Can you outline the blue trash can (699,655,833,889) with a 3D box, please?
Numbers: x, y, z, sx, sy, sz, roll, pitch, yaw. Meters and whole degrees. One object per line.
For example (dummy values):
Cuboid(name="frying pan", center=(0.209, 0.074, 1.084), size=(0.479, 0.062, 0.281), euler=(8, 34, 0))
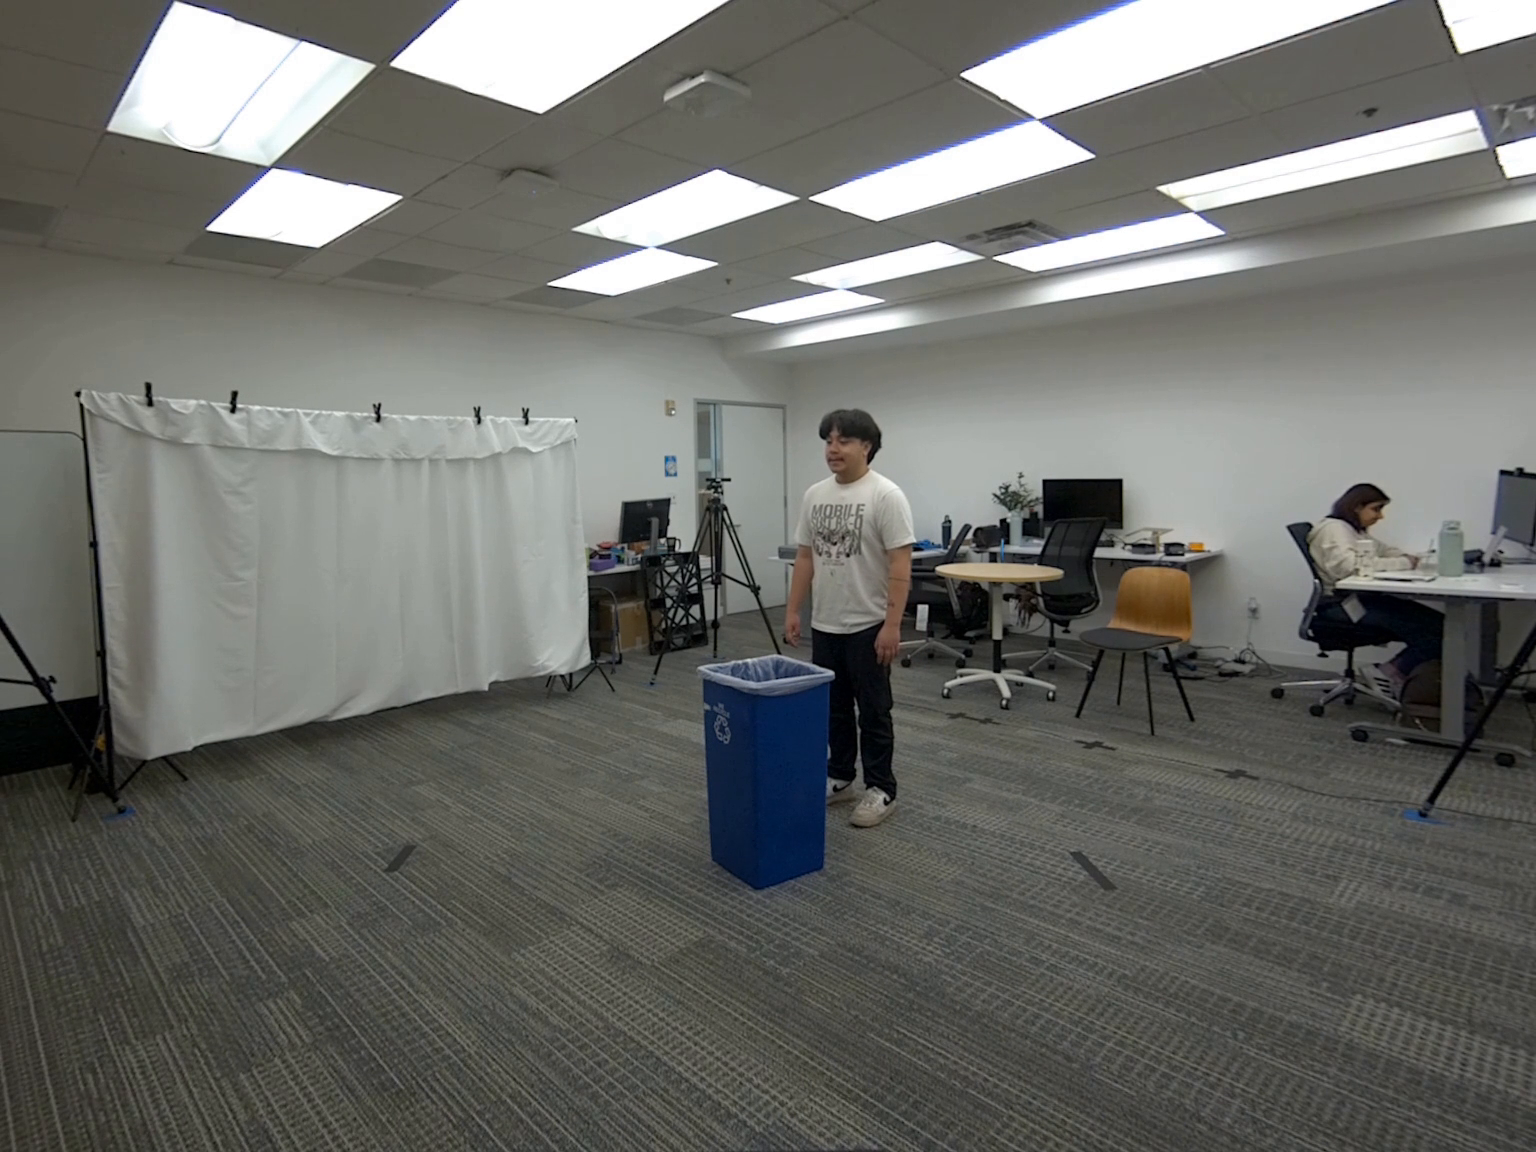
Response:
Cuboid(name="blue trash can", center=(0.000, 0.687, 3.069), size=(0.368, 0.711, 0.385), euler=(-4, 5, -35))
